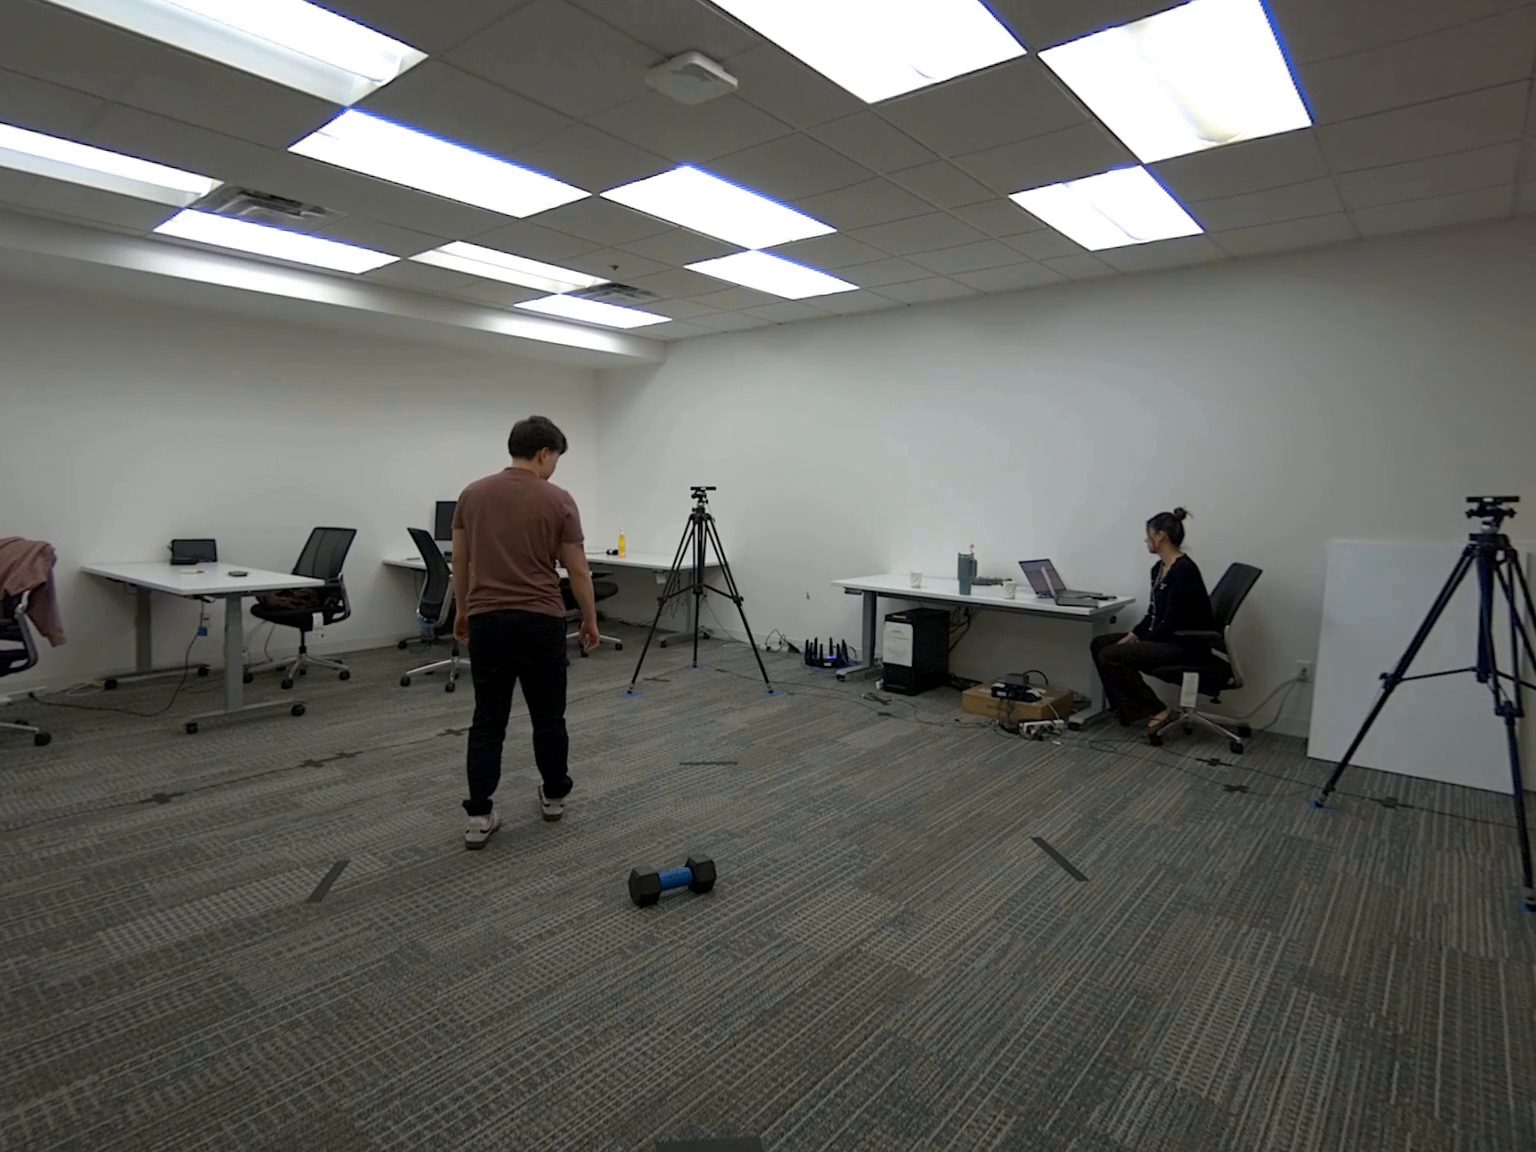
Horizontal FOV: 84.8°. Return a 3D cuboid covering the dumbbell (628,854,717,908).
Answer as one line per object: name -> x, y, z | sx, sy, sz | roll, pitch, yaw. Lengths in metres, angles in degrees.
dumbbell -> -0.333, 1.030, 2.892 | 0.286, 0.121, 0.113 | -2, 35, -30
